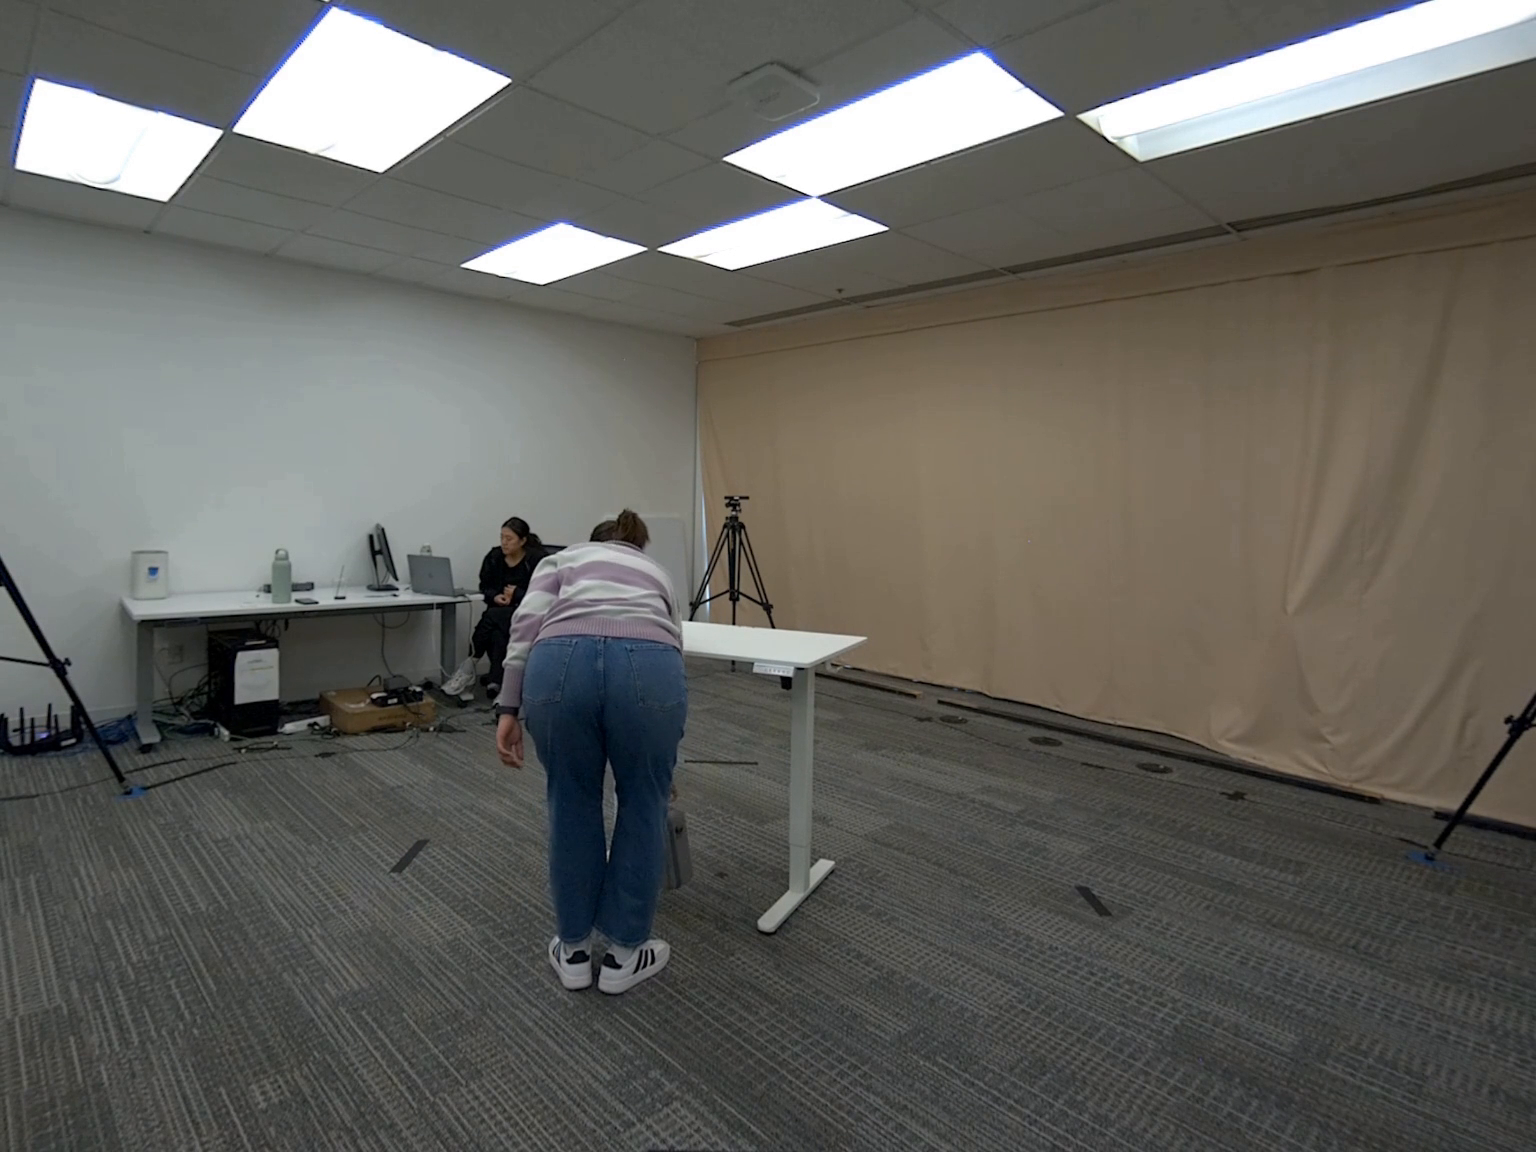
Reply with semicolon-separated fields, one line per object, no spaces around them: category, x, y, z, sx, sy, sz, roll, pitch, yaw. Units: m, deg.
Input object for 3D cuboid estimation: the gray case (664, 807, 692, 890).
gray case;-0.379;0.882;2.831;0.102;0.259;0.263;-11;9;-38
